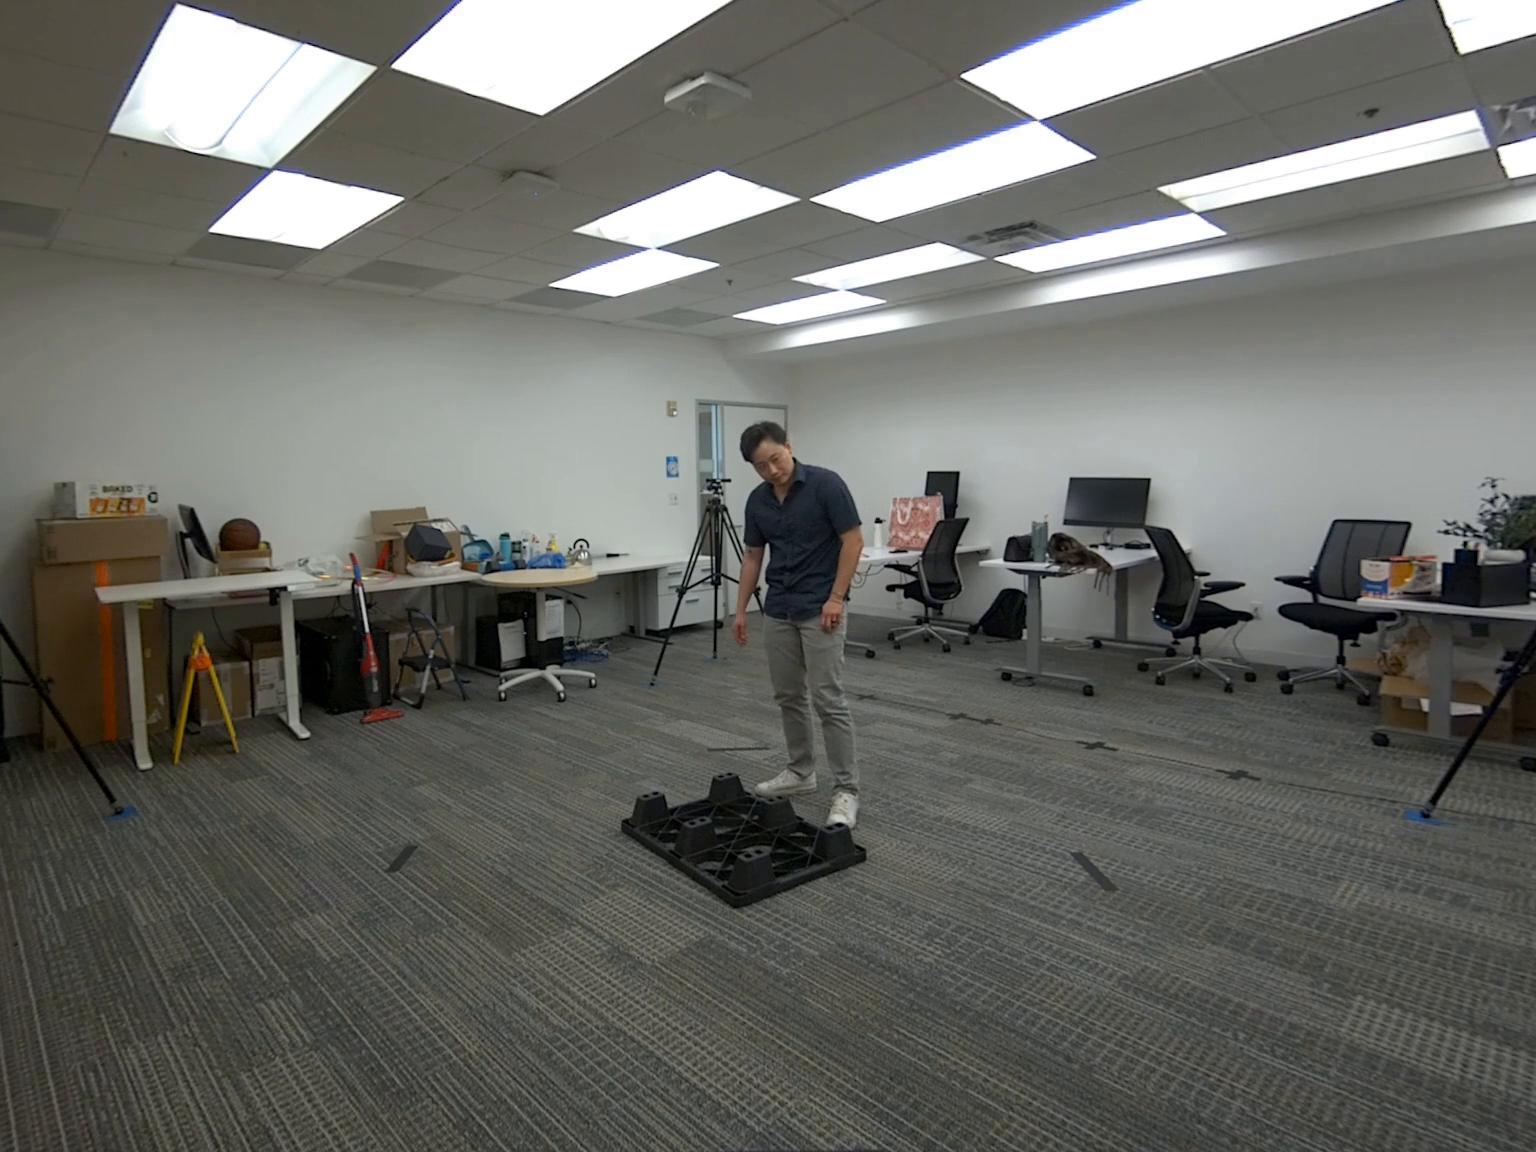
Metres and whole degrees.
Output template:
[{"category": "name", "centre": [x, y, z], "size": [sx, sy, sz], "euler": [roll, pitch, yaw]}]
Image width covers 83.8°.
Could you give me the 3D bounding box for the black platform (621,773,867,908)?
[{"category": "black platform", "centre": [-0.106, 0.961, 3.263], "size": [0.590, 0.142, 0.830], "euler": [-6, 8, -37]}]
